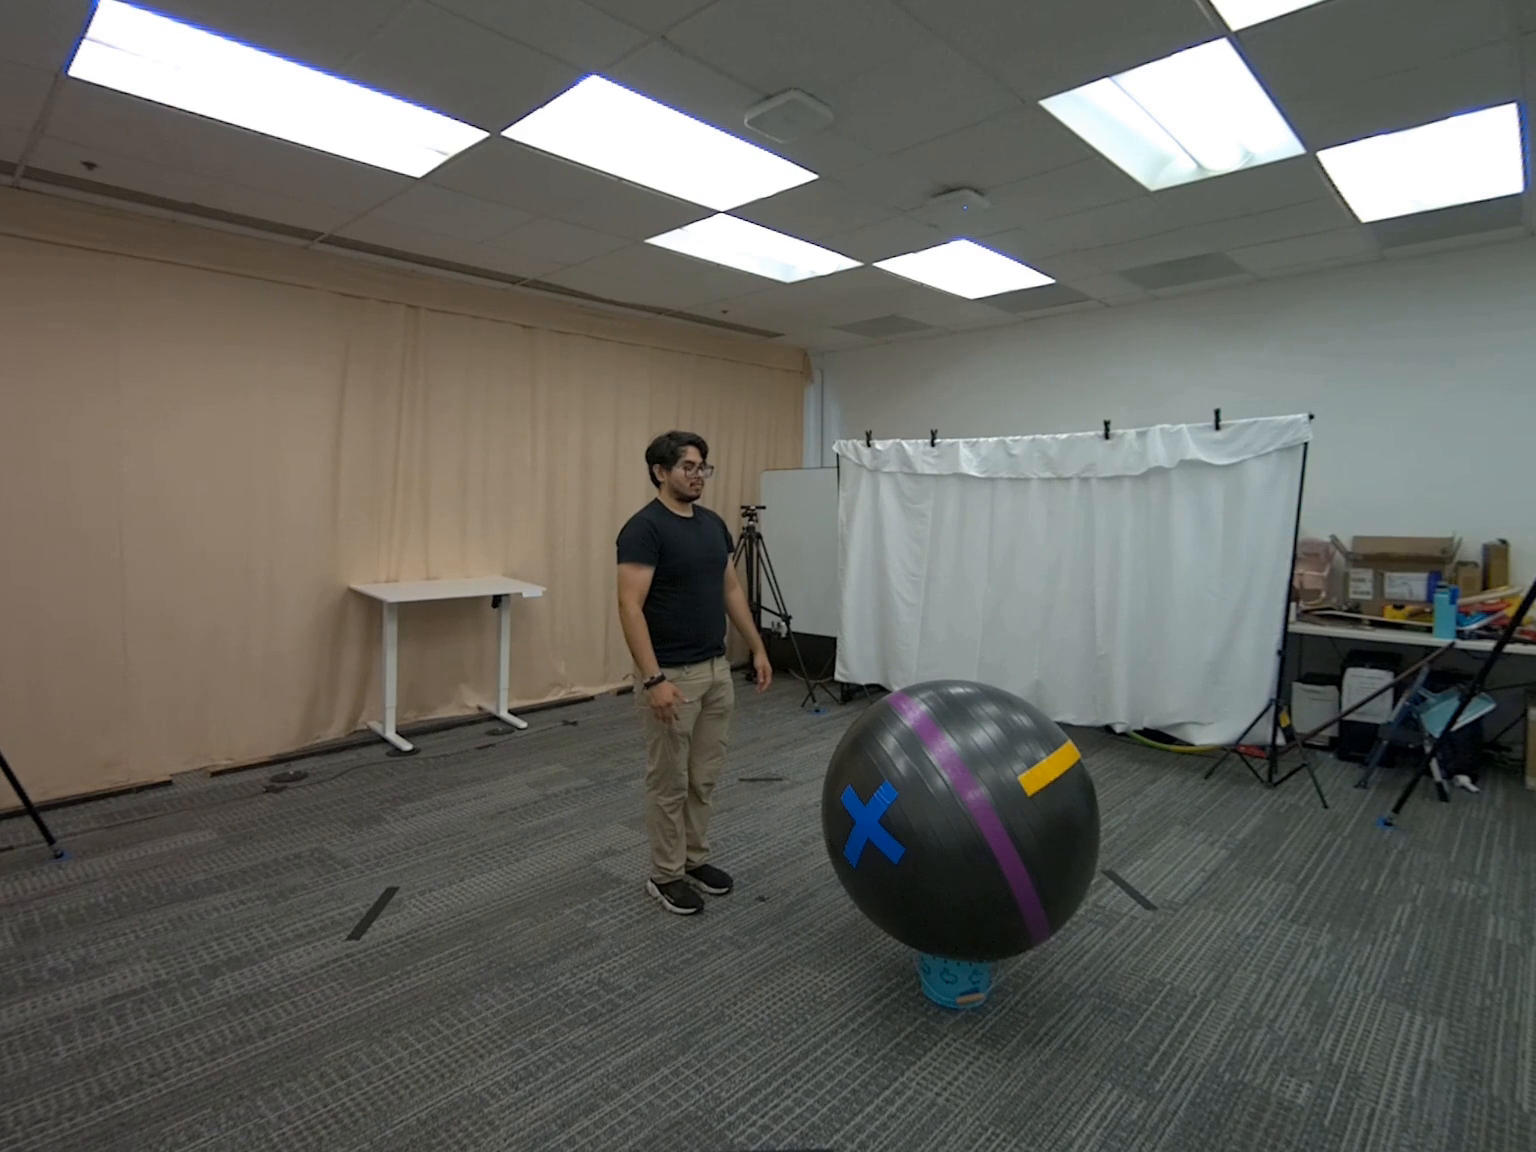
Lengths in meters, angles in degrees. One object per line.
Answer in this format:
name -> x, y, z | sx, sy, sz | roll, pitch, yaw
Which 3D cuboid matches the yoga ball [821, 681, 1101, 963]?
yoga ball -> 0.537, 0.687, 2.396 | 0.757, 0.756, 0.760 | 0, 4, -2
